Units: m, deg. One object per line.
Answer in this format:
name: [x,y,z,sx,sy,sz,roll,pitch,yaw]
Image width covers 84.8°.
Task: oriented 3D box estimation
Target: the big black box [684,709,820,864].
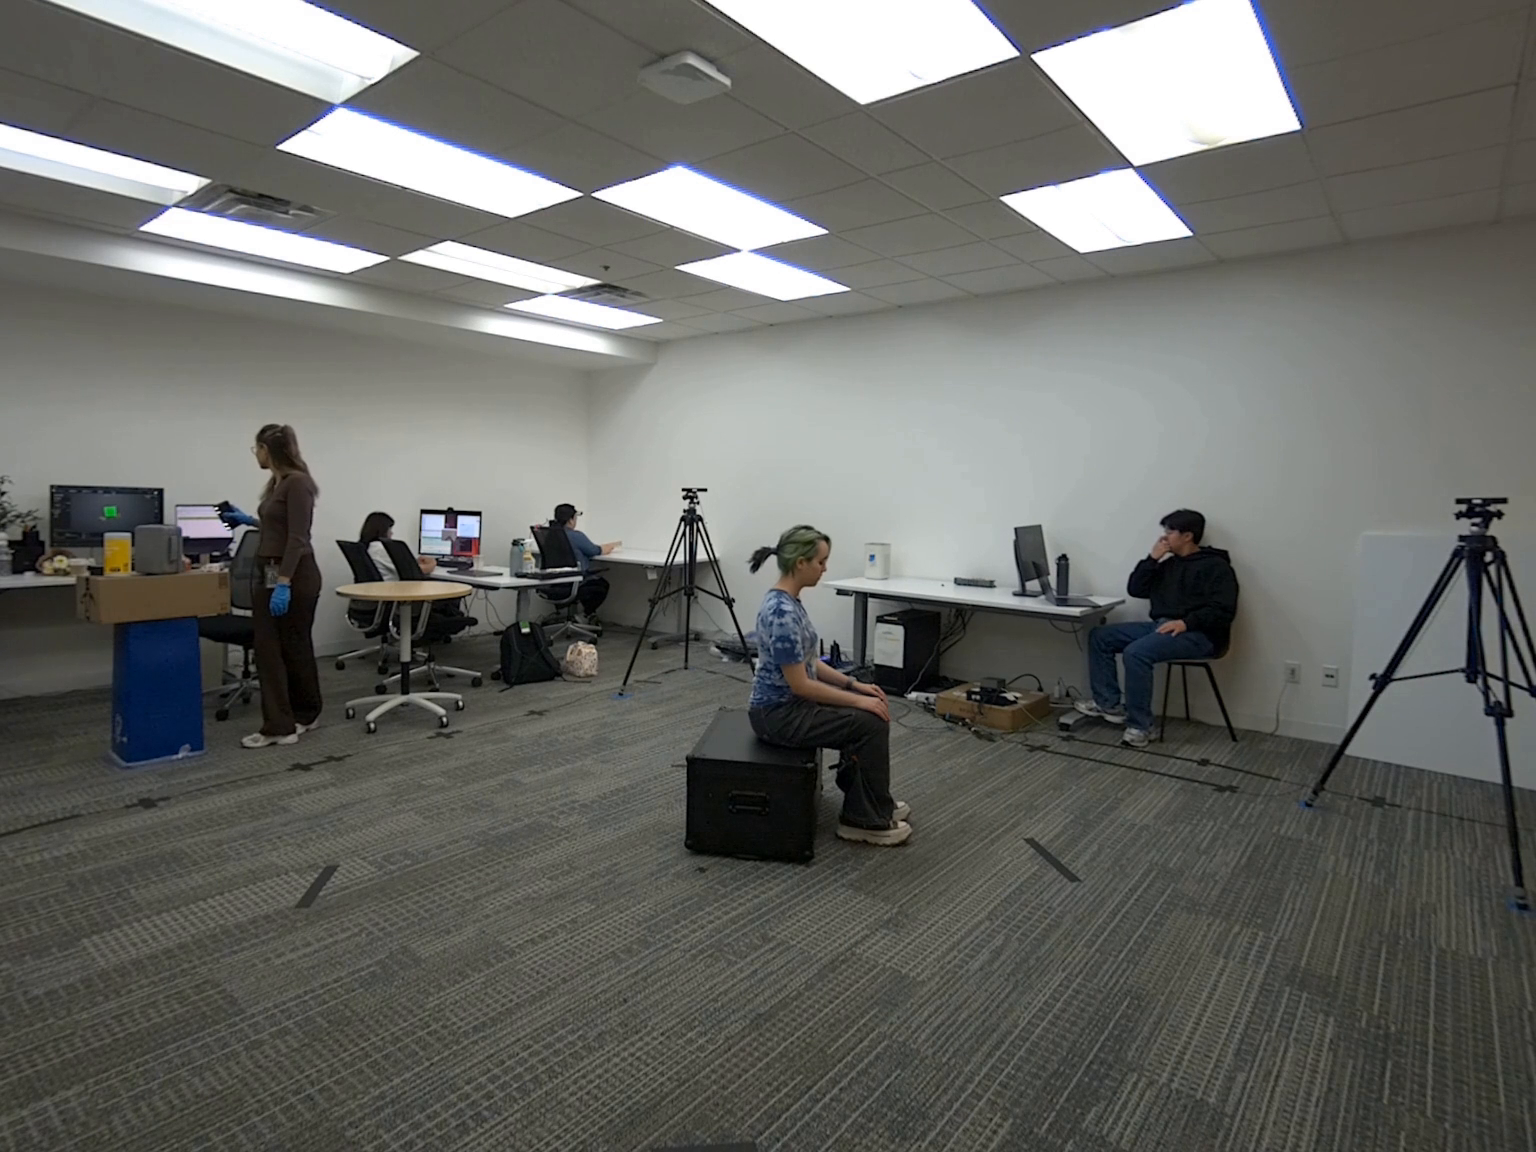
big black box: [-0.036,0.836,3.588,0.526,0.395,0.857,1,5,7]
